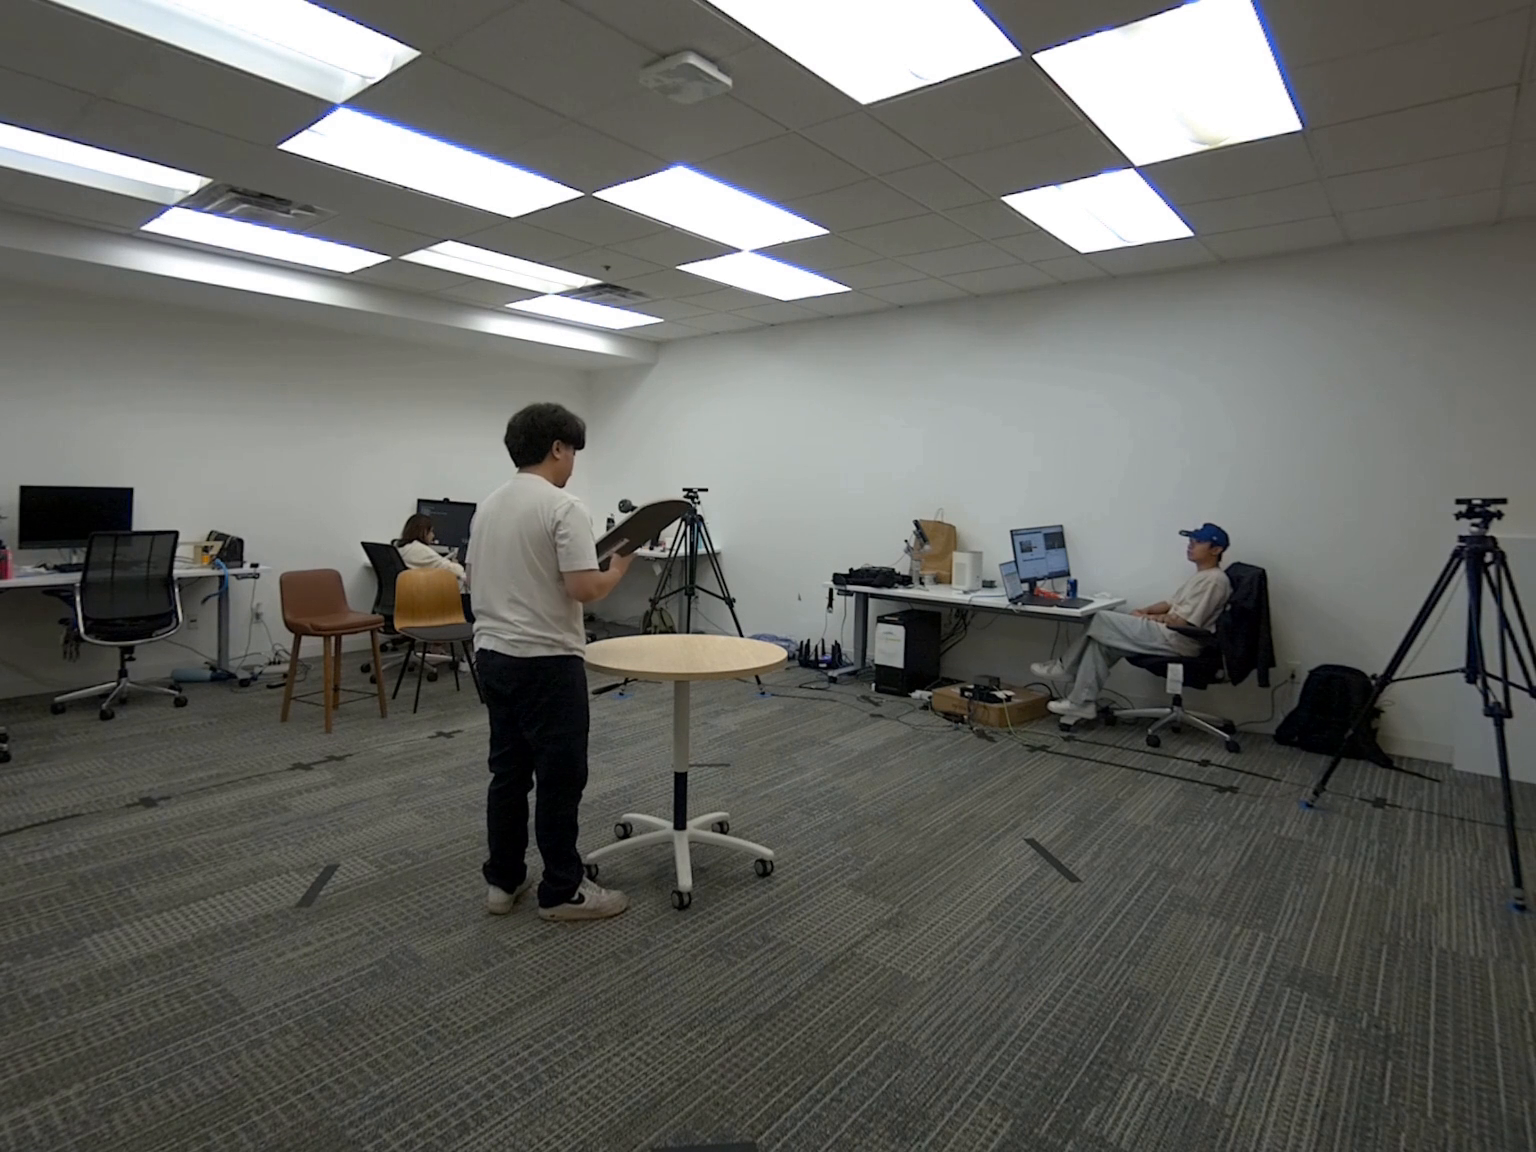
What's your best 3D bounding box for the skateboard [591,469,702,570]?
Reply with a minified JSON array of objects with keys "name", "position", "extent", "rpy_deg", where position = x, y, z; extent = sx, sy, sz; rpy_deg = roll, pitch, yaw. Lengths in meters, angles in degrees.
[{"name":"skateboard","position":[-0.599,-0.115,3.067],"extent":[0.792,0.113,0.186],"rpy_deg":[-32,-26,30]}]
